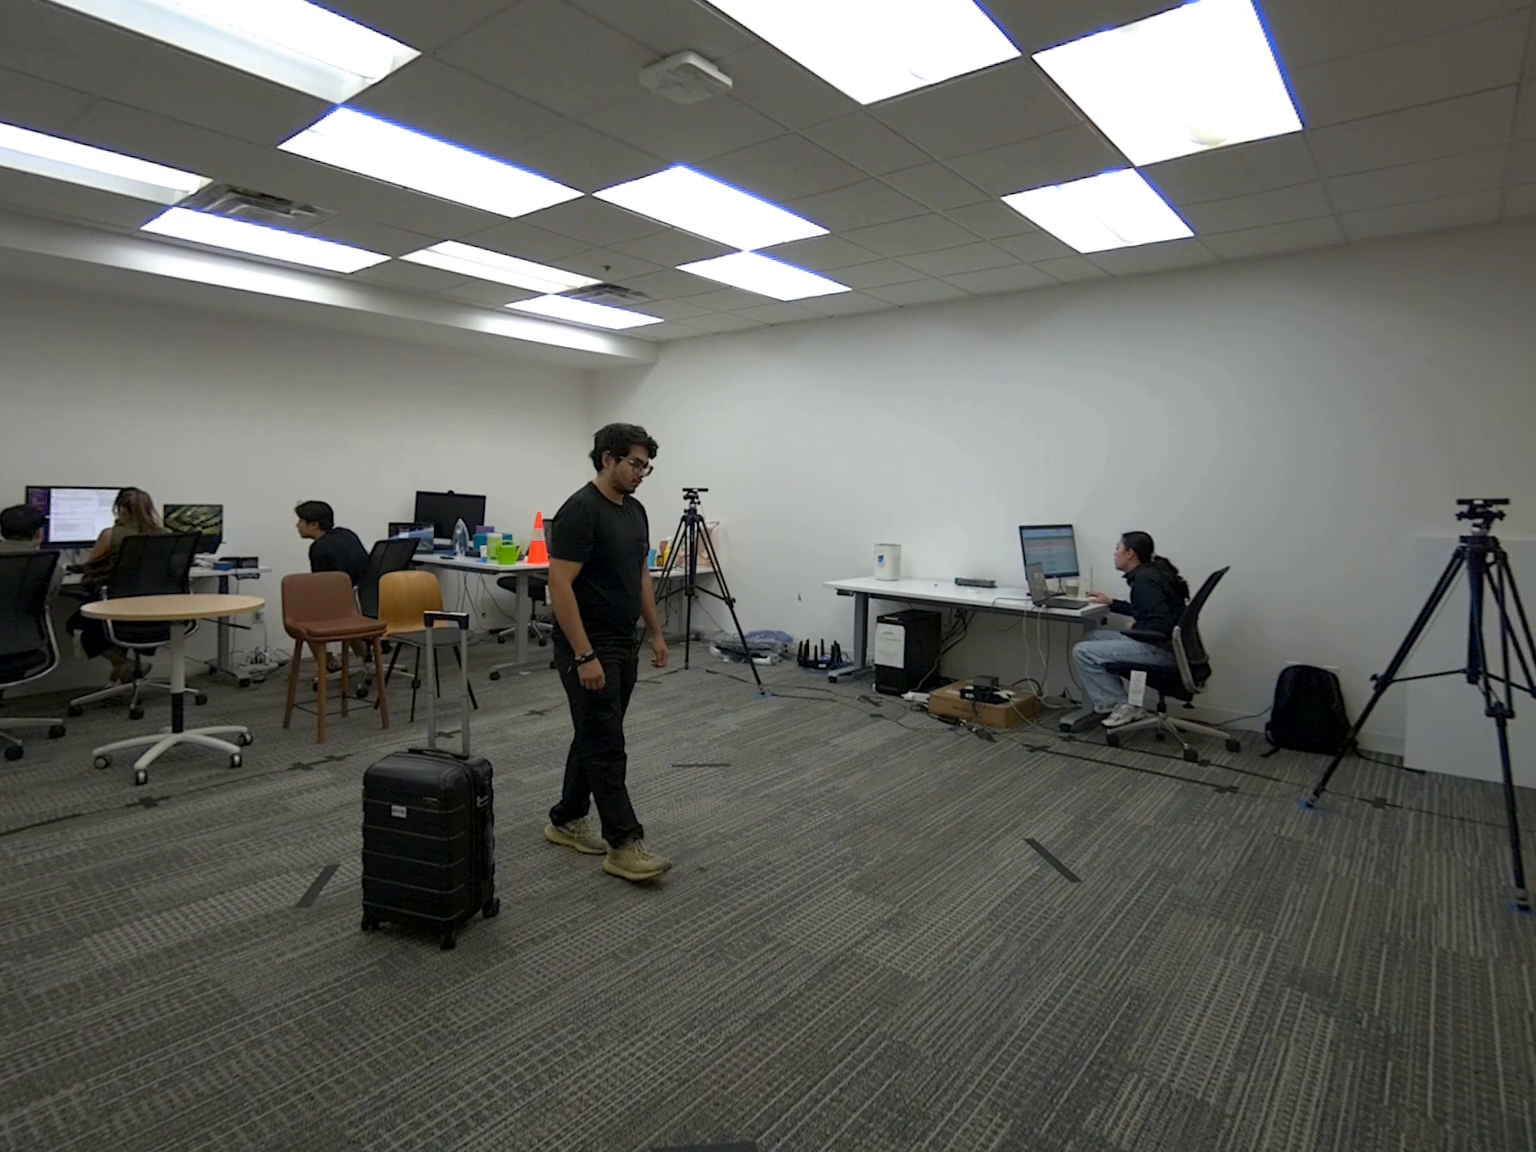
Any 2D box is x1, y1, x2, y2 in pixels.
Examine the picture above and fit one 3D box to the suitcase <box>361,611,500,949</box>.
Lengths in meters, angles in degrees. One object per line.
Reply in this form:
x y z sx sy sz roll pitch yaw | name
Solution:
-1.069 0.624 2.646 0.391 0.974 0.254 2 5 16 | suitcase
